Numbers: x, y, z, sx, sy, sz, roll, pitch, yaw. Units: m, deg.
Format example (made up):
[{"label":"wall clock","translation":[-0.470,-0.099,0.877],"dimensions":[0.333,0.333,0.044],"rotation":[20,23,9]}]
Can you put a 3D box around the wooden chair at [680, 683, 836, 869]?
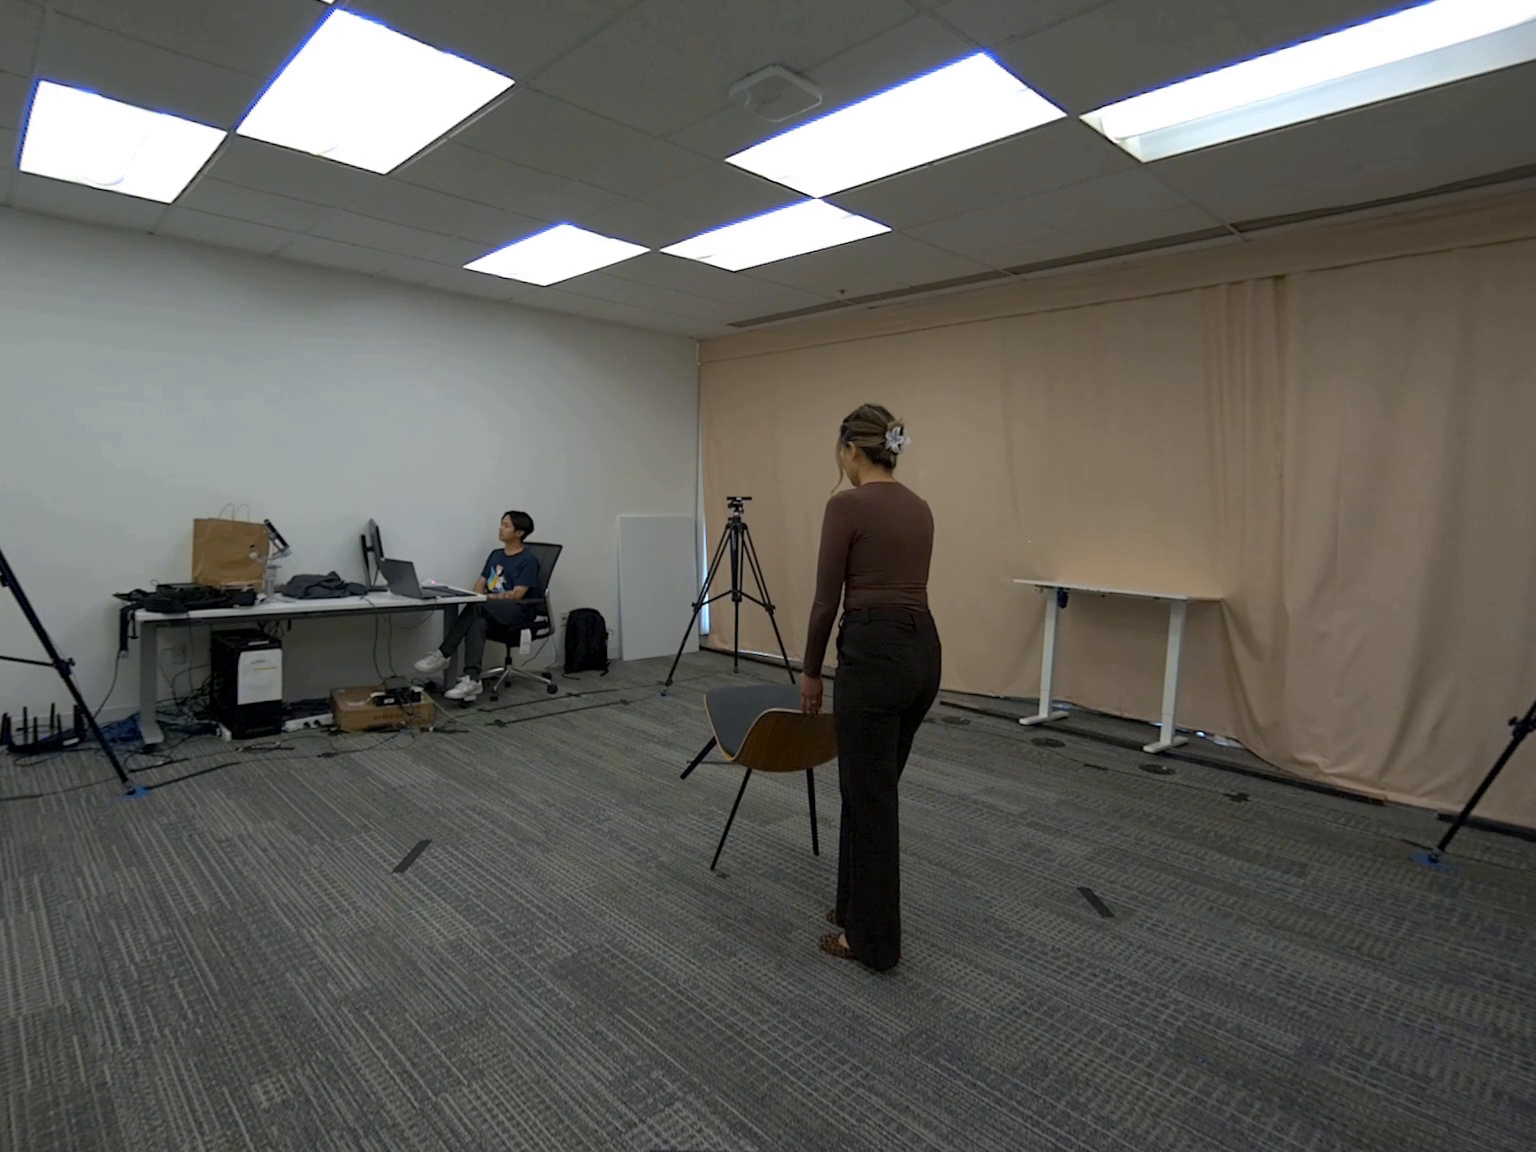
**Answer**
[{"label":"wooden chair","translation":[0.006,0.615,3.179],"dimensions":[0.470,0.865,0.539],"rotation":[0,39,-22]}]
